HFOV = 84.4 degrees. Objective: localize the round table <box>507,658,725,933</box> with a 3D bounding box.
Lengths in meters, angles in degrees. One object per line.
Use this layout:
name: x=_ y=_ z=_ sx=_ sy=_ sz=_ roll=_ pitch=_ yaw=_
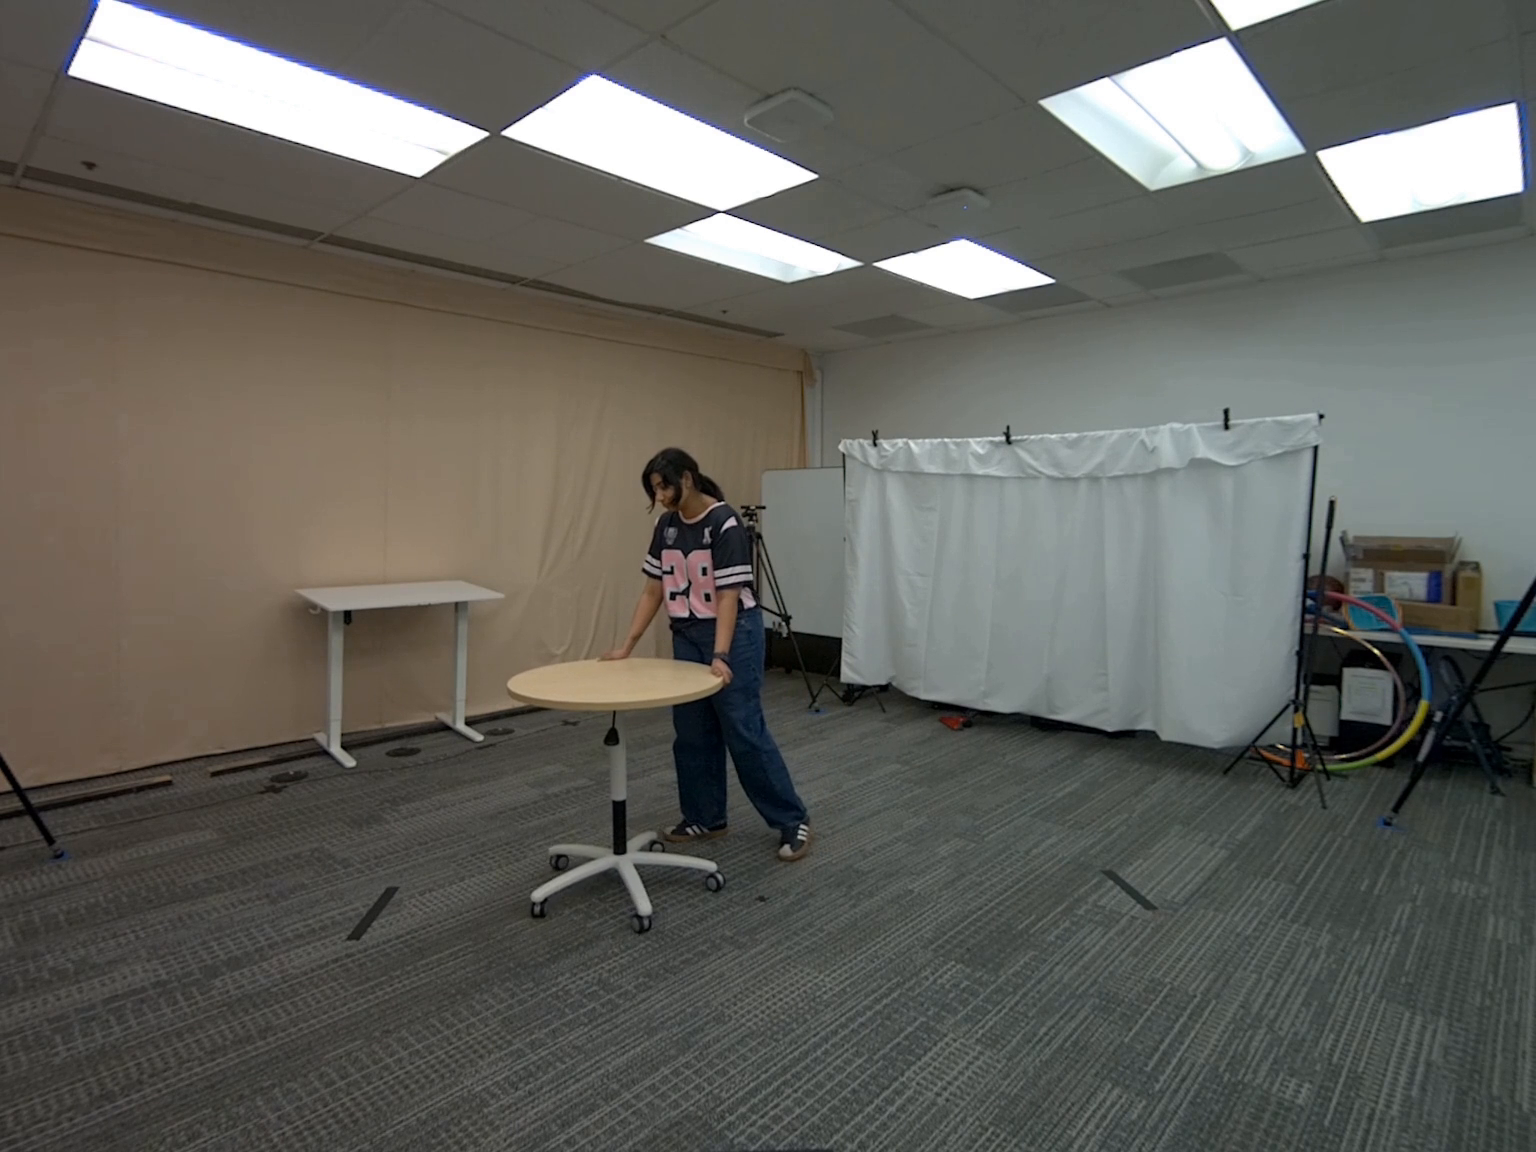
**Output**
round table: x=-0.526 y=0.748 z=3.048 sx=0.784 sy=0.785 sz=0.788 roll=0 pitch=4 yaw=-2
